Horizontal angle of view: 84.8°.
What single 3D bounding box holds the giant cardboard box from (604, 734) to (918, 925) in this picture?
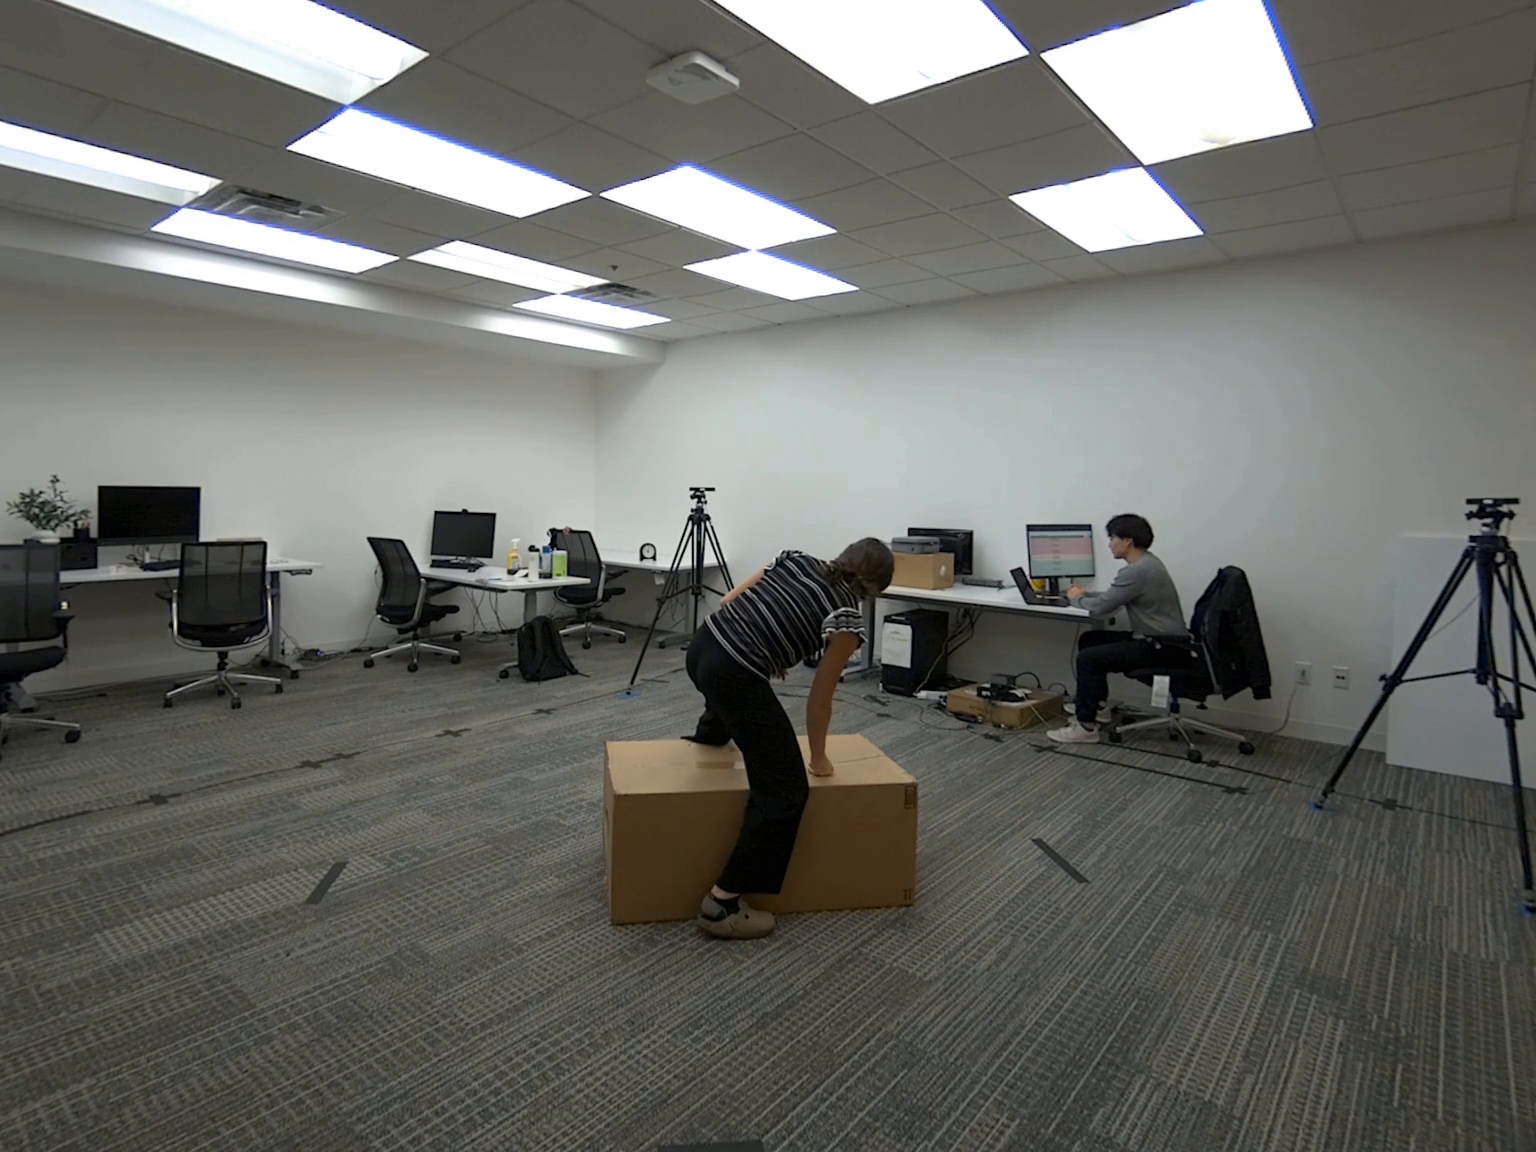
[{"bbox_3d":[-0.069,0.870,3.047,1.014,0.425,0.586,1,4,-11],"label":"giant cardboard box"}]
